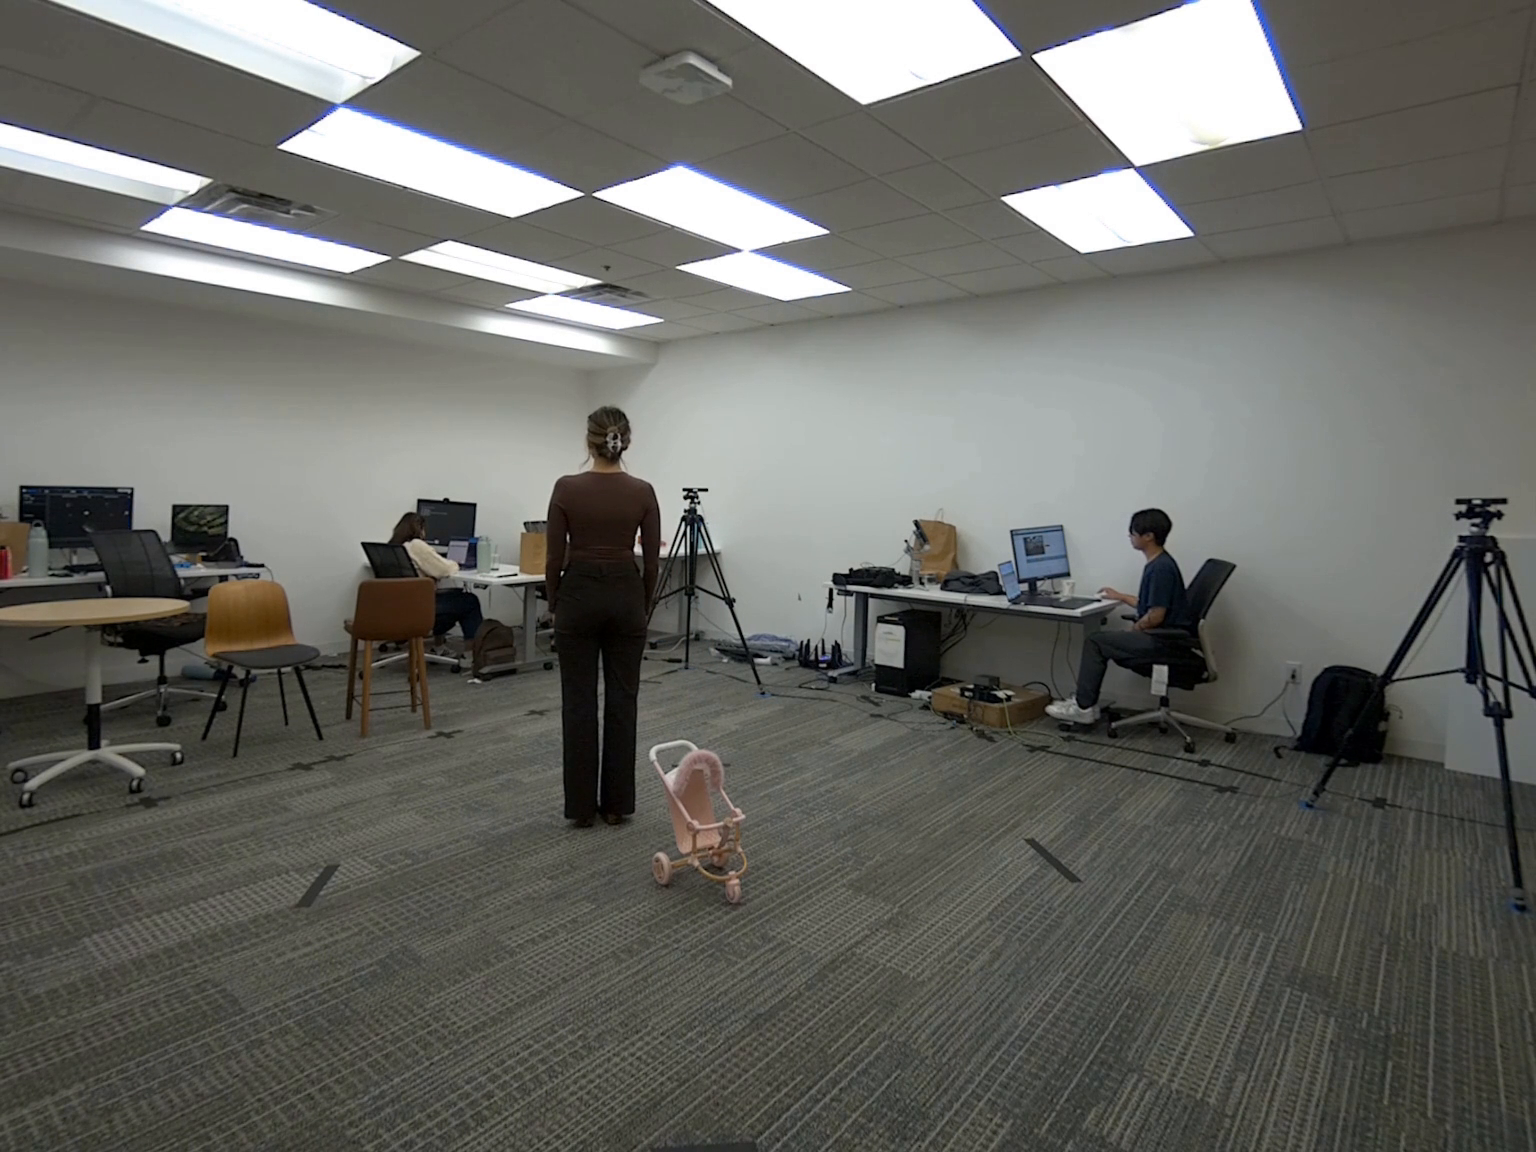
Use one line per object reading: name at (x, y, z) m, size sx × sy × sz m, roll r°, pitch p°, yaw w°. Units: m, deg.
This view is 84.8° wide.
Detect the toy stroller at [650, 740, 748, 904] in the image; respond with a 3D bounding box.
toy stroller at (-0.242, 0.851, 2.998) m, size 0.273 × 0.541 × 0.348 m, roll -1°, pitch -11°, yaw -35°
